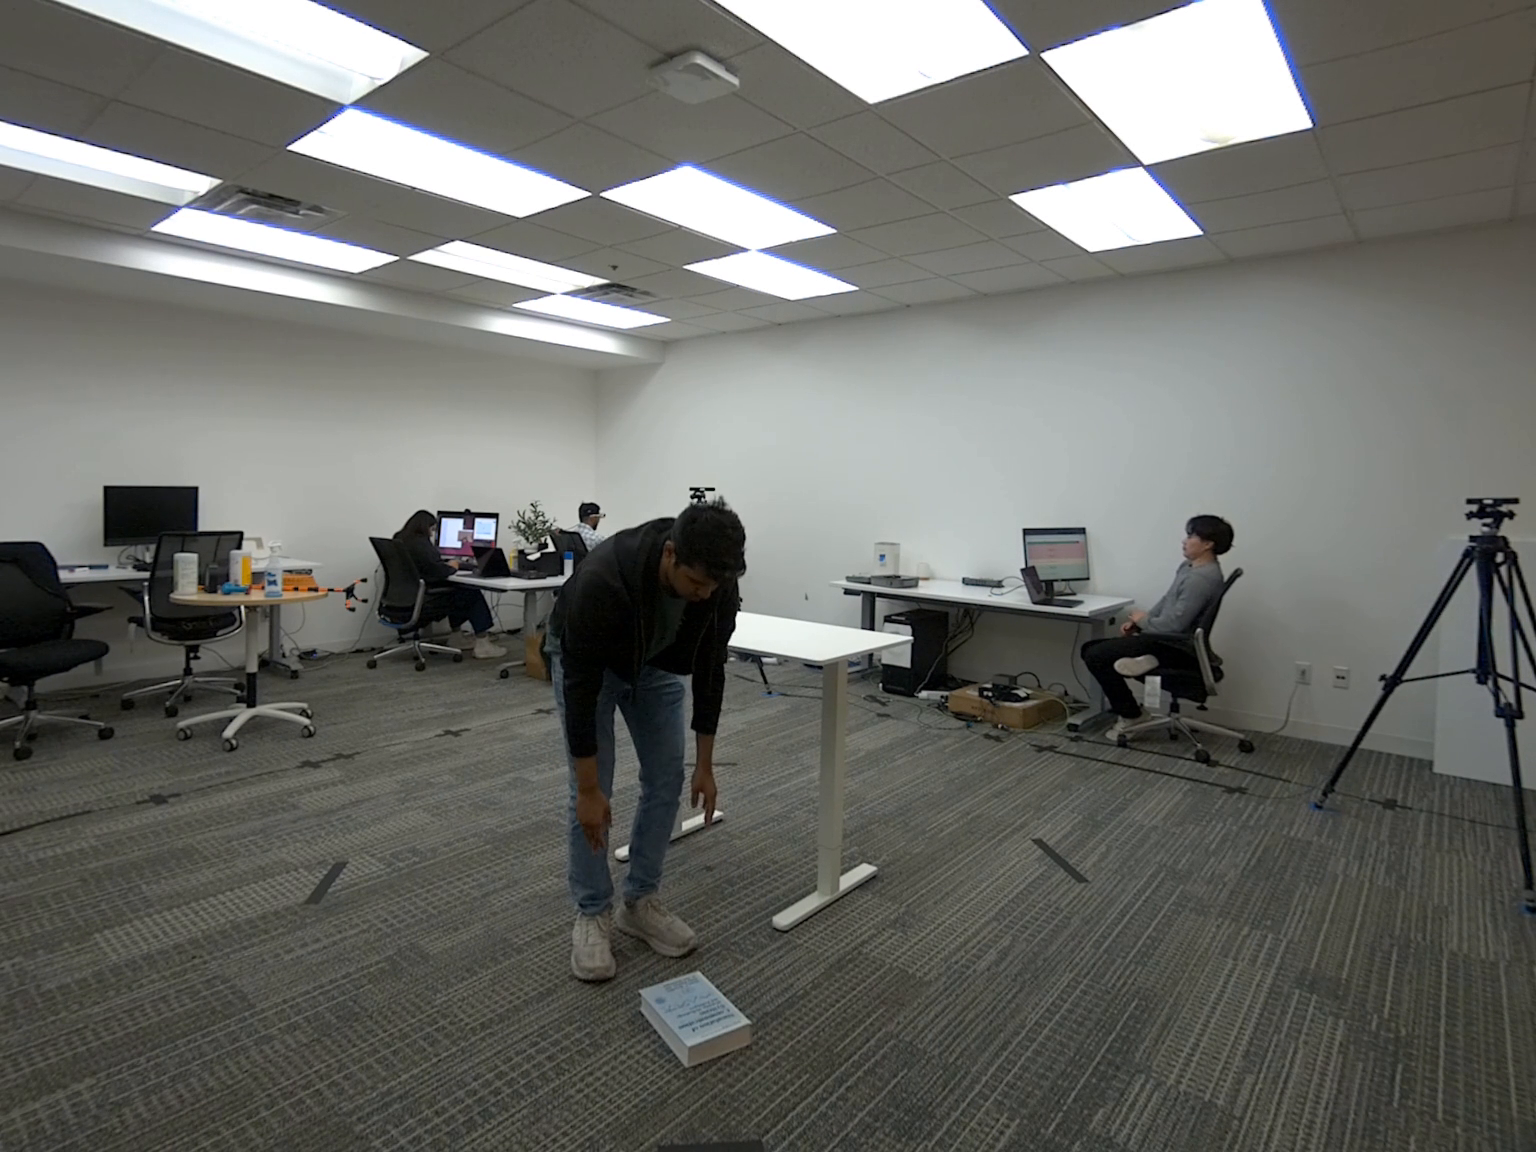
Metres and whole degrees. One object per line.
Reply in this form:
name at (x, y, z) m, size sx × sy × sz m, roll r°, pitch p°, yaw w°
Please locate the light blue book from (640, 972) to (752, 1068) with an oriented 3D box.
light blue book at (-0.196, 1.128, 2.190) m, size 0.186 × 0.059 × 0.269 m, roll -4°, pitch 7°, yaw -34°
